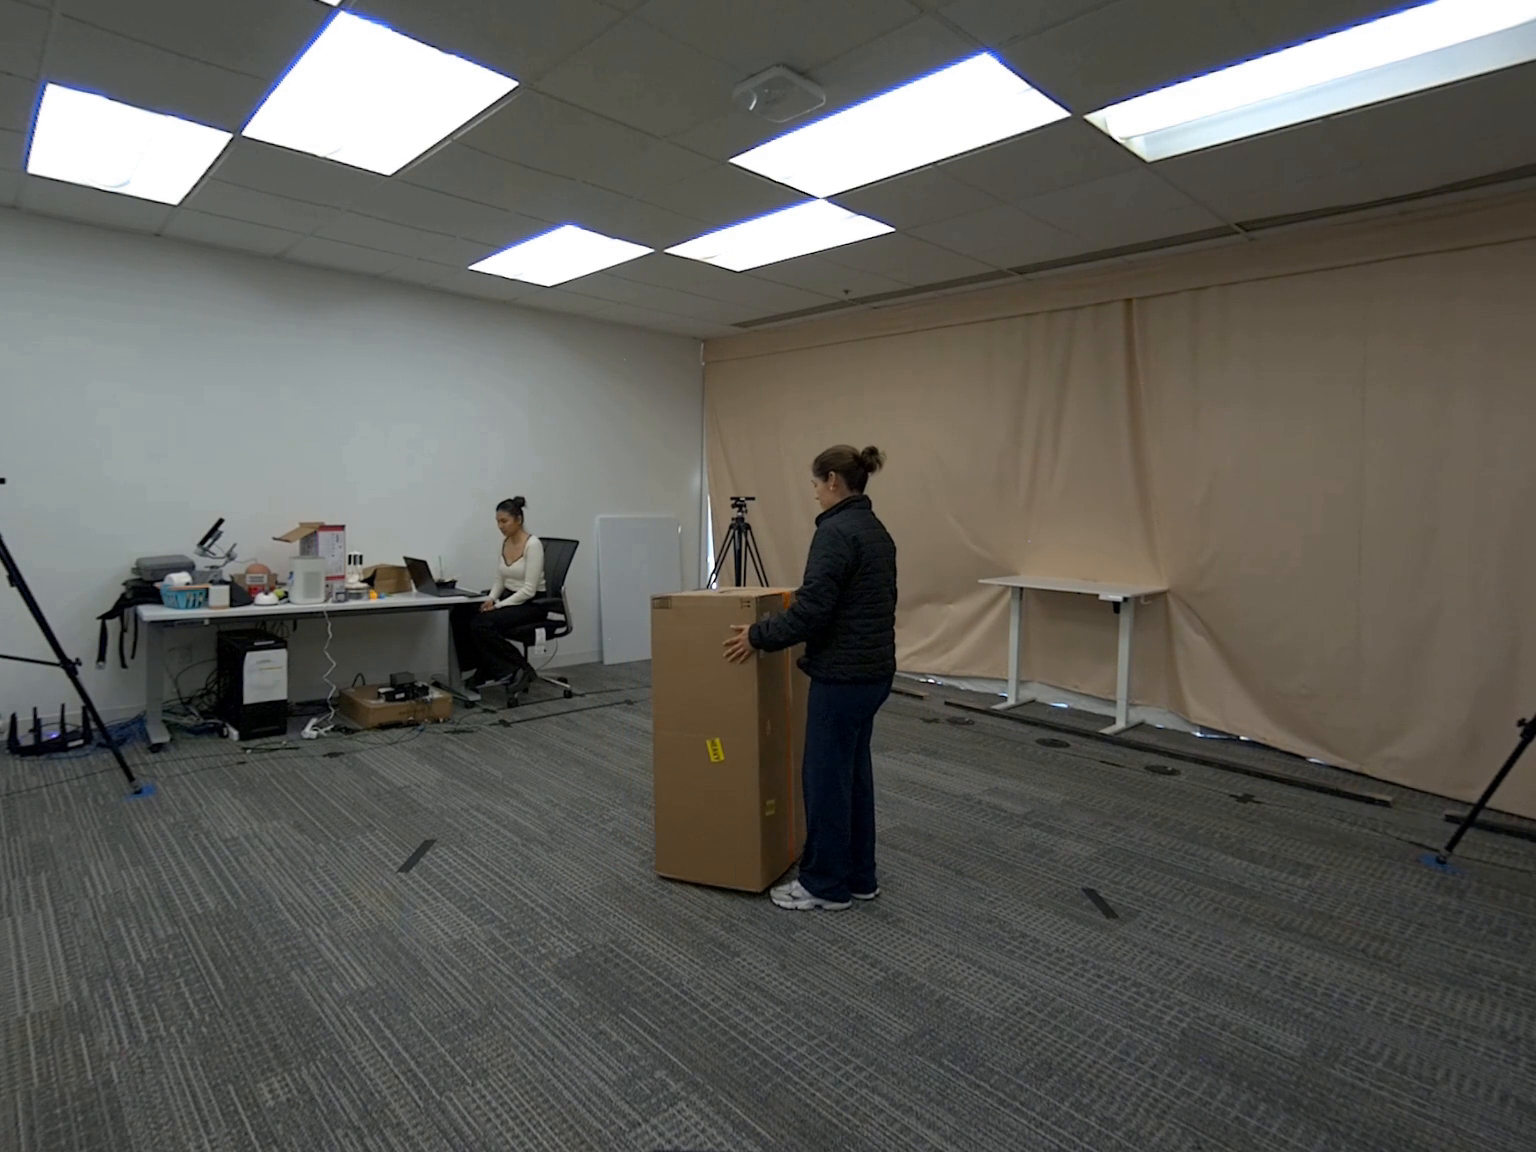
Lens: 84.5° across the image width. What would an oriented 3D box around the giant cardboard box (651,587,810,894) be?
[{"bbox_3d":[-0.125,0.576,3.238,0.433,1.026,0.568,-1,0,22],"label":"giant cardboard box"}]
